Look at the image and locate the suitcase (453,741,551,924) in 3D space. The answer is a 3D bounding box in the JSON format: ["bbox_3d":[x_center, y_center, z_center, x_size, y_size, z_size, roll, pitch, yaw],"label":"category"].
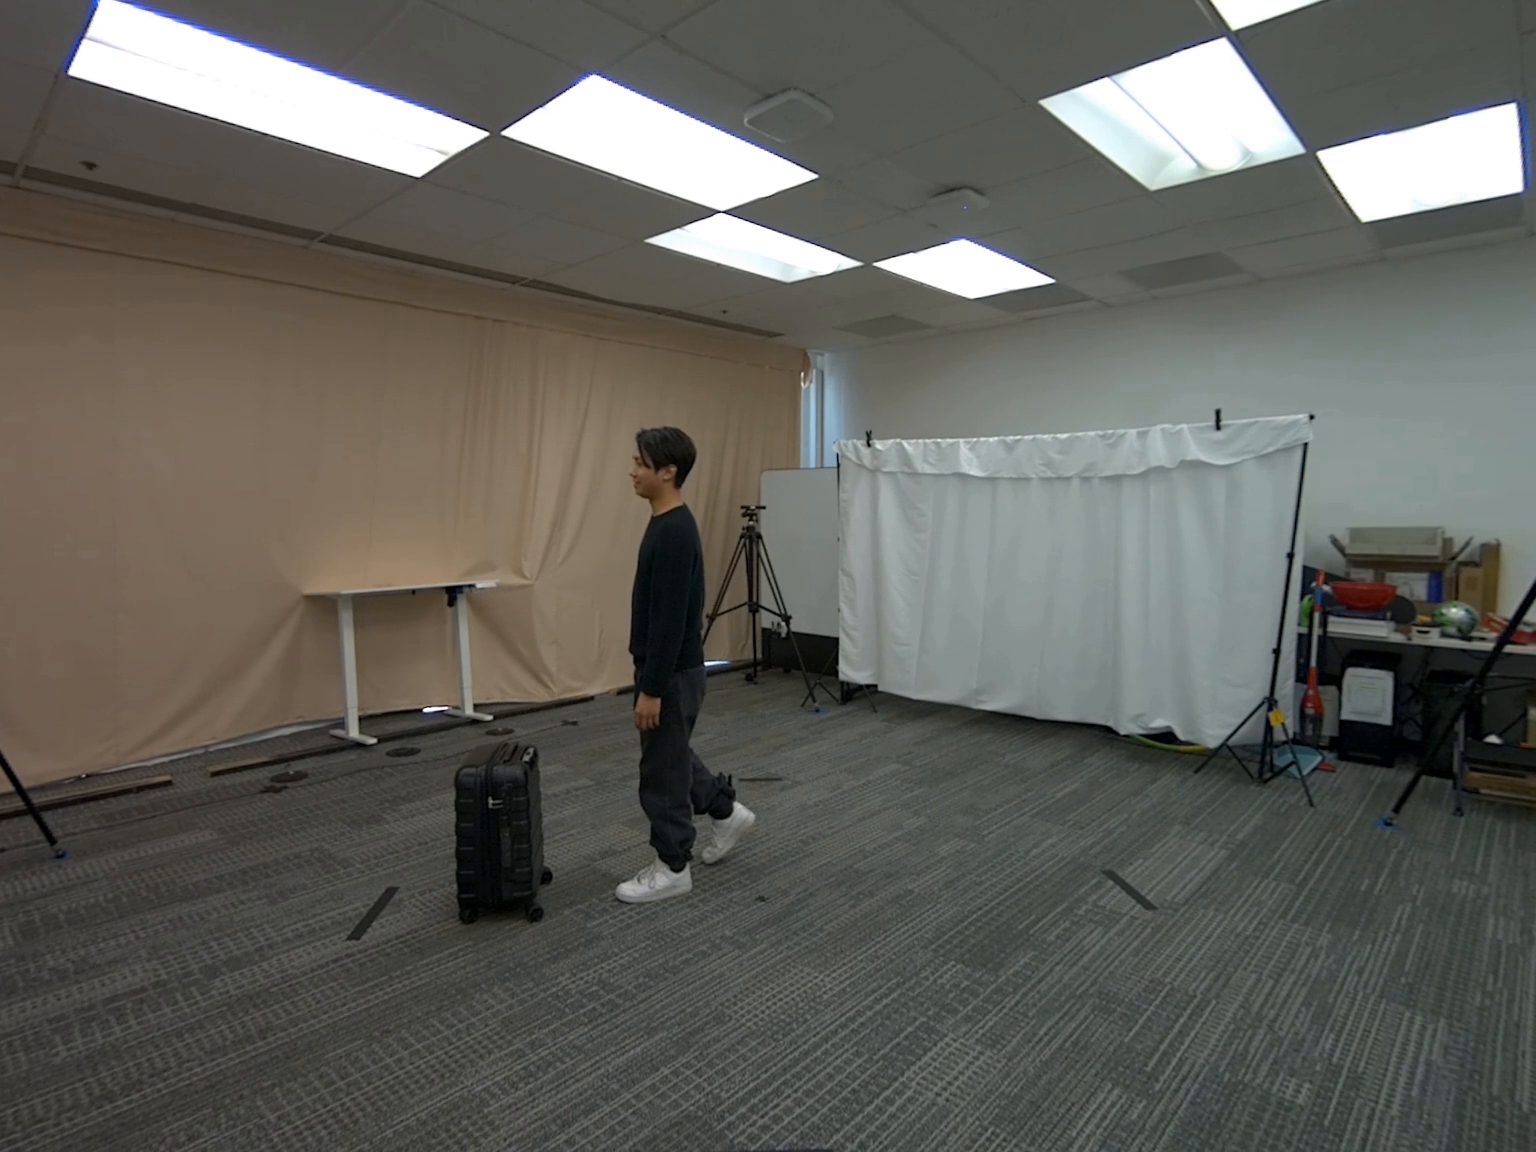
[{"bbox_3d":[-0.938,0.879,2.955,0.247,0.548,0.378,-2,4,-6],"label":"suitcase"}]
